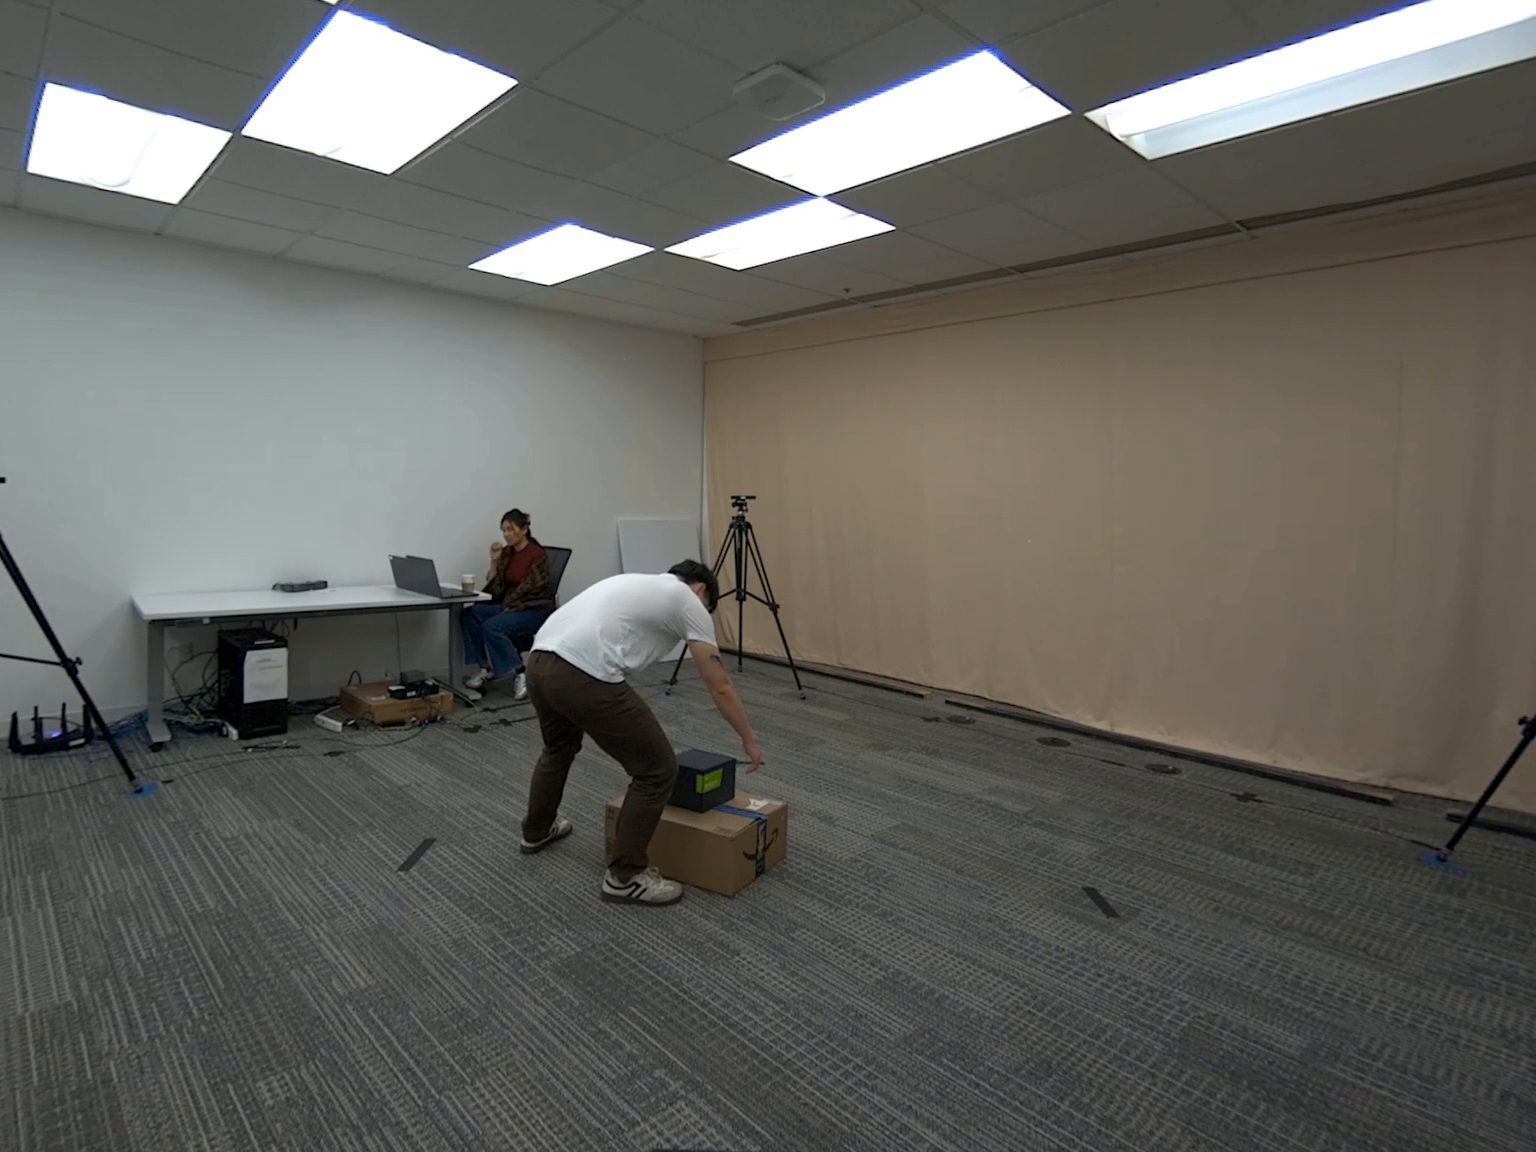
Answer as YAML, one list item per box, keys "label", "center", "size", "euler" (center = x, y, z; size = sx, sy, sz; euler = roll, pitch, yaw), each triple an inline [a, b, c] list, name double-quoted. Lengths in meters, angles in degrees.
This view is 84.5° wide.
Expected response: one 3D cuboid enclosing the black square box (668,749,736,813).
- label: "black square box"
  center: [-0.285, 0.783, 3.257]
  size: [0.222, 0.156, 0.223]
  euler: [3, 2, 32]
